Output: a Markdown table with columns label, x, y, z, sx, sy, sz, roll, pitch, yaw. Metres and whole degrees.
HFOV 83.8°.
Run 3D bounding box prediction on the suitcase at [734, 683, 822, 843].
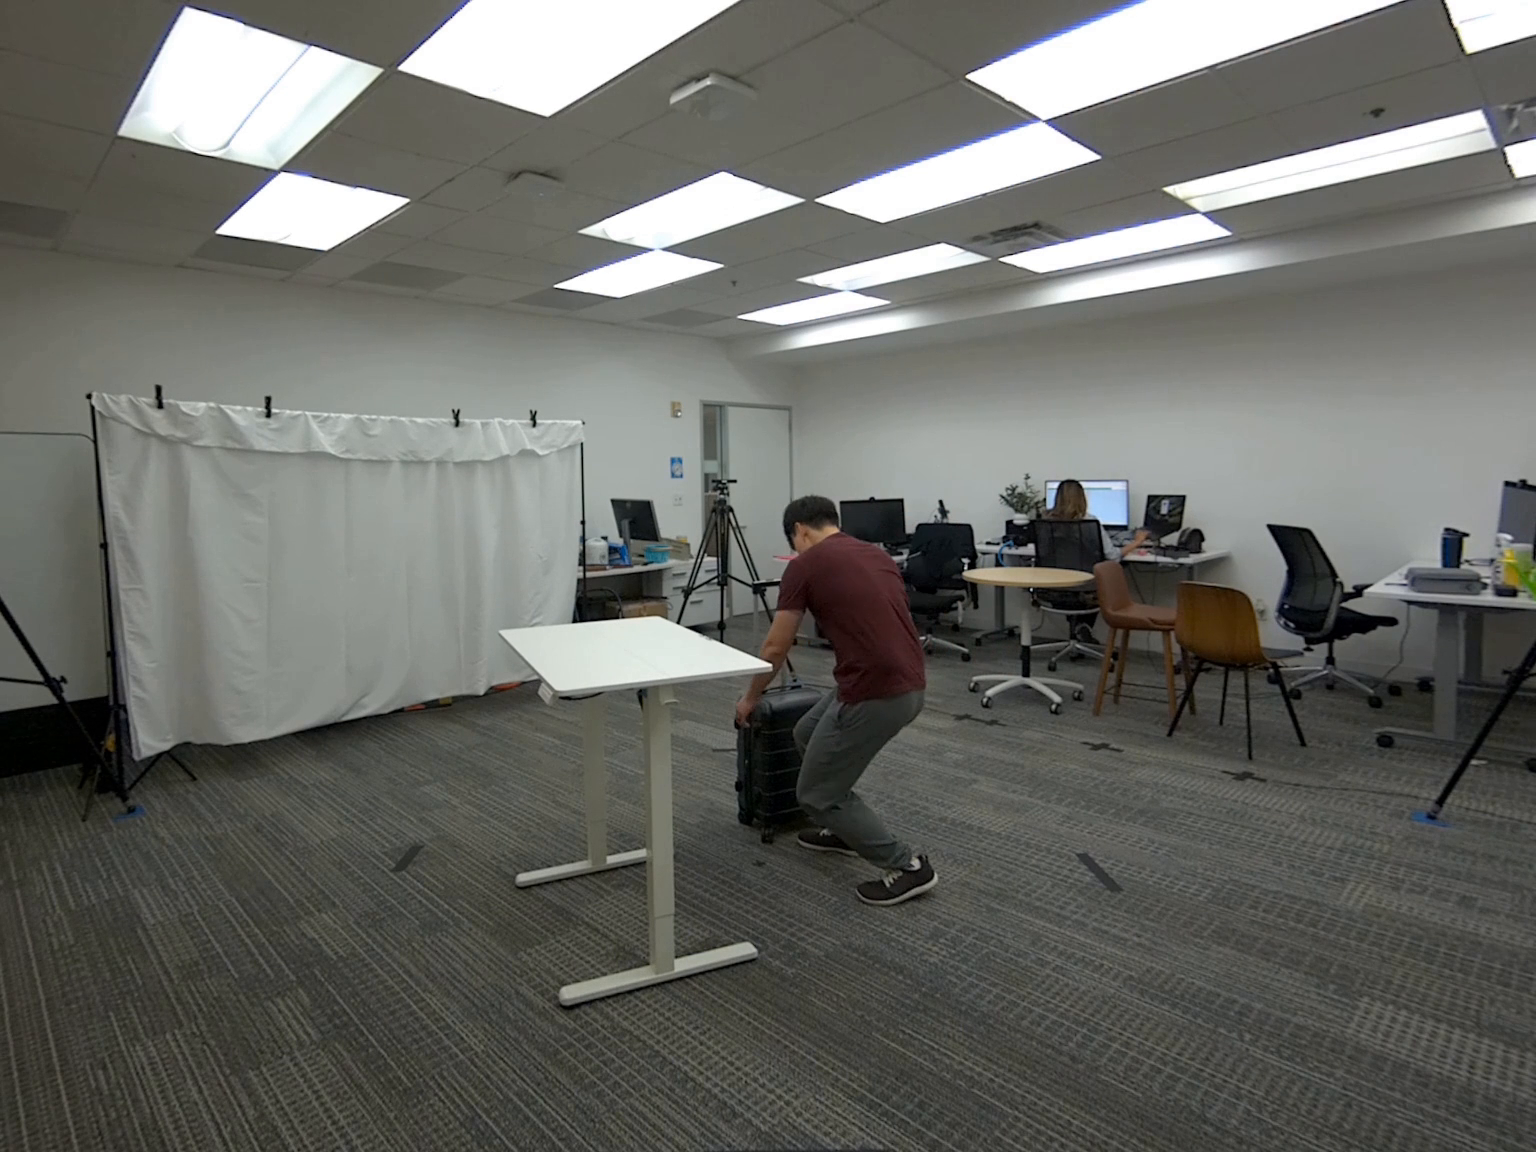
| label | x | y | z | sx | sy | sz | roll | pitch | yaw |
| --- | --- | --- | --- | --- | --- | --- | --- | --- | --- |
| suitcase | 0.068 | 0.525 | 3.447 | 0.376 | 0.974 | 0.263 | -2 | 5 | -24 |
